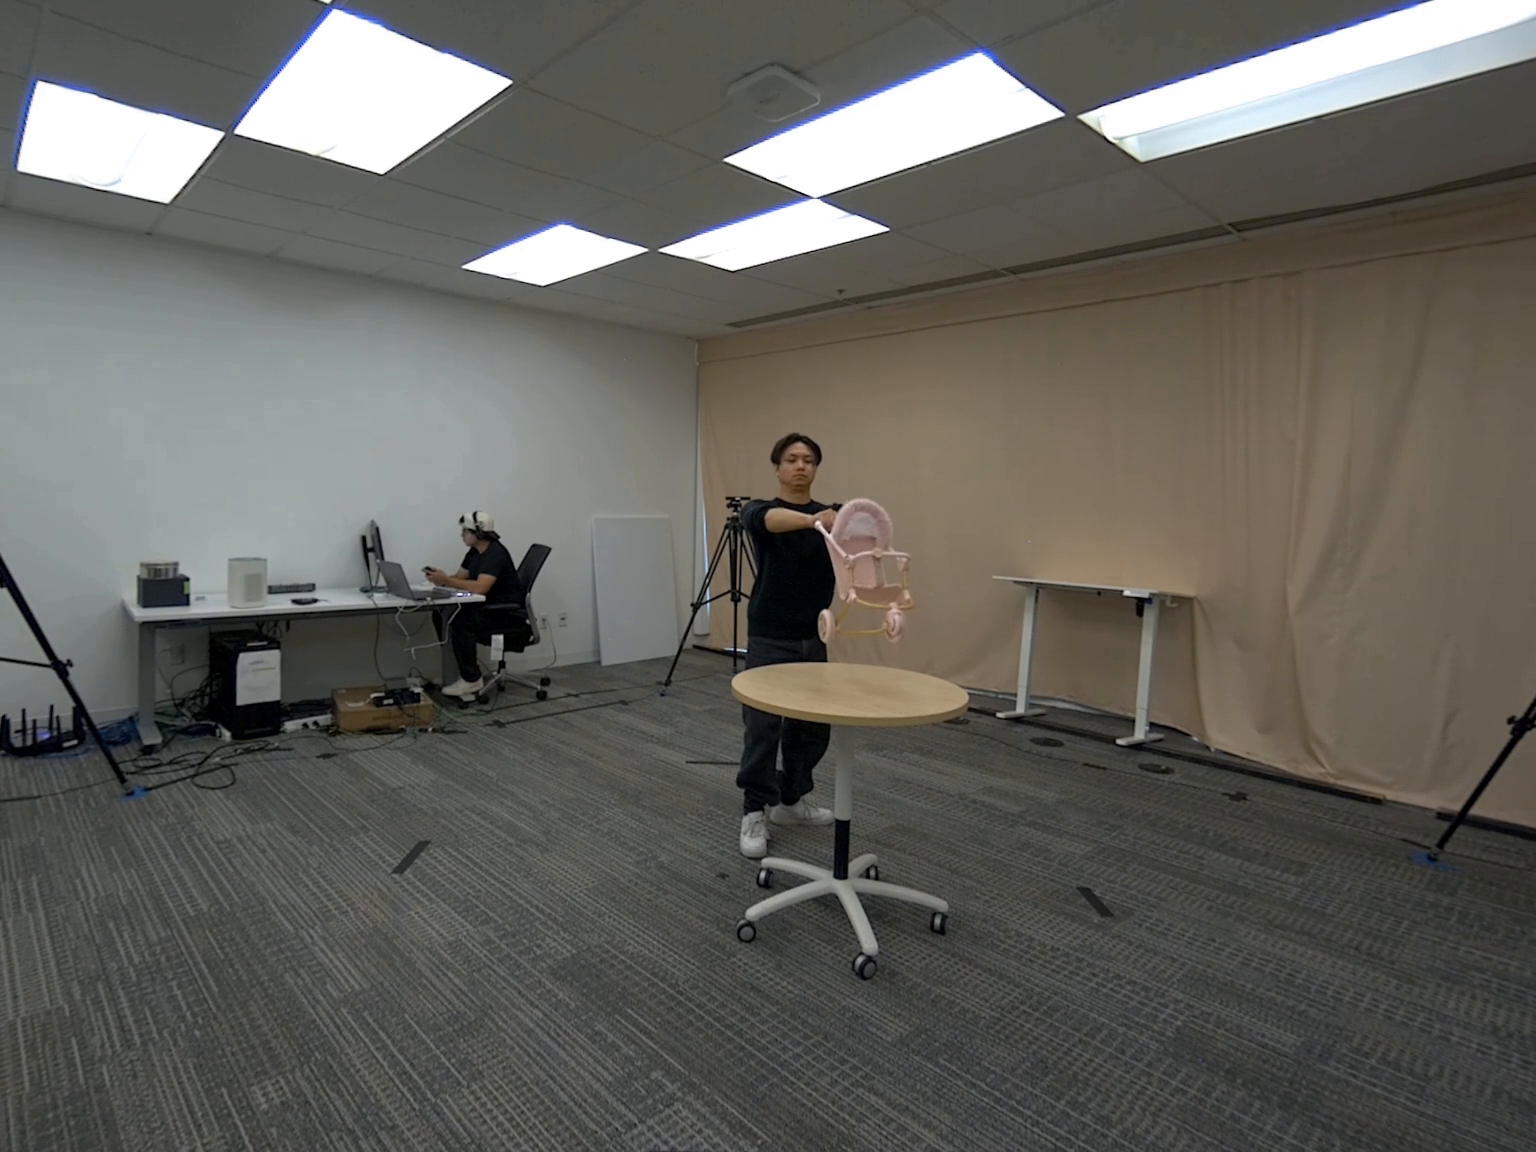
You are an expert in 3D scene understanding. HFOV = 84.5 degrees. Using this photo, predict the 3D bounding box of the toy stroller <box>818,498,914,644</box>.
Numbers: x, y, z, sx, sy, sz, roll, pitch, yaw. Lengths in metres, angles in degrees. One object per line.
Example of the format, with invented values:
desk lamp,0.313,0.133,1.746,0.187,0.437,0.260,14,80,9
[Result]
toy stroller,0.315,-0.015,2.739,0.279,0.544,0.339,1,-23,-13
